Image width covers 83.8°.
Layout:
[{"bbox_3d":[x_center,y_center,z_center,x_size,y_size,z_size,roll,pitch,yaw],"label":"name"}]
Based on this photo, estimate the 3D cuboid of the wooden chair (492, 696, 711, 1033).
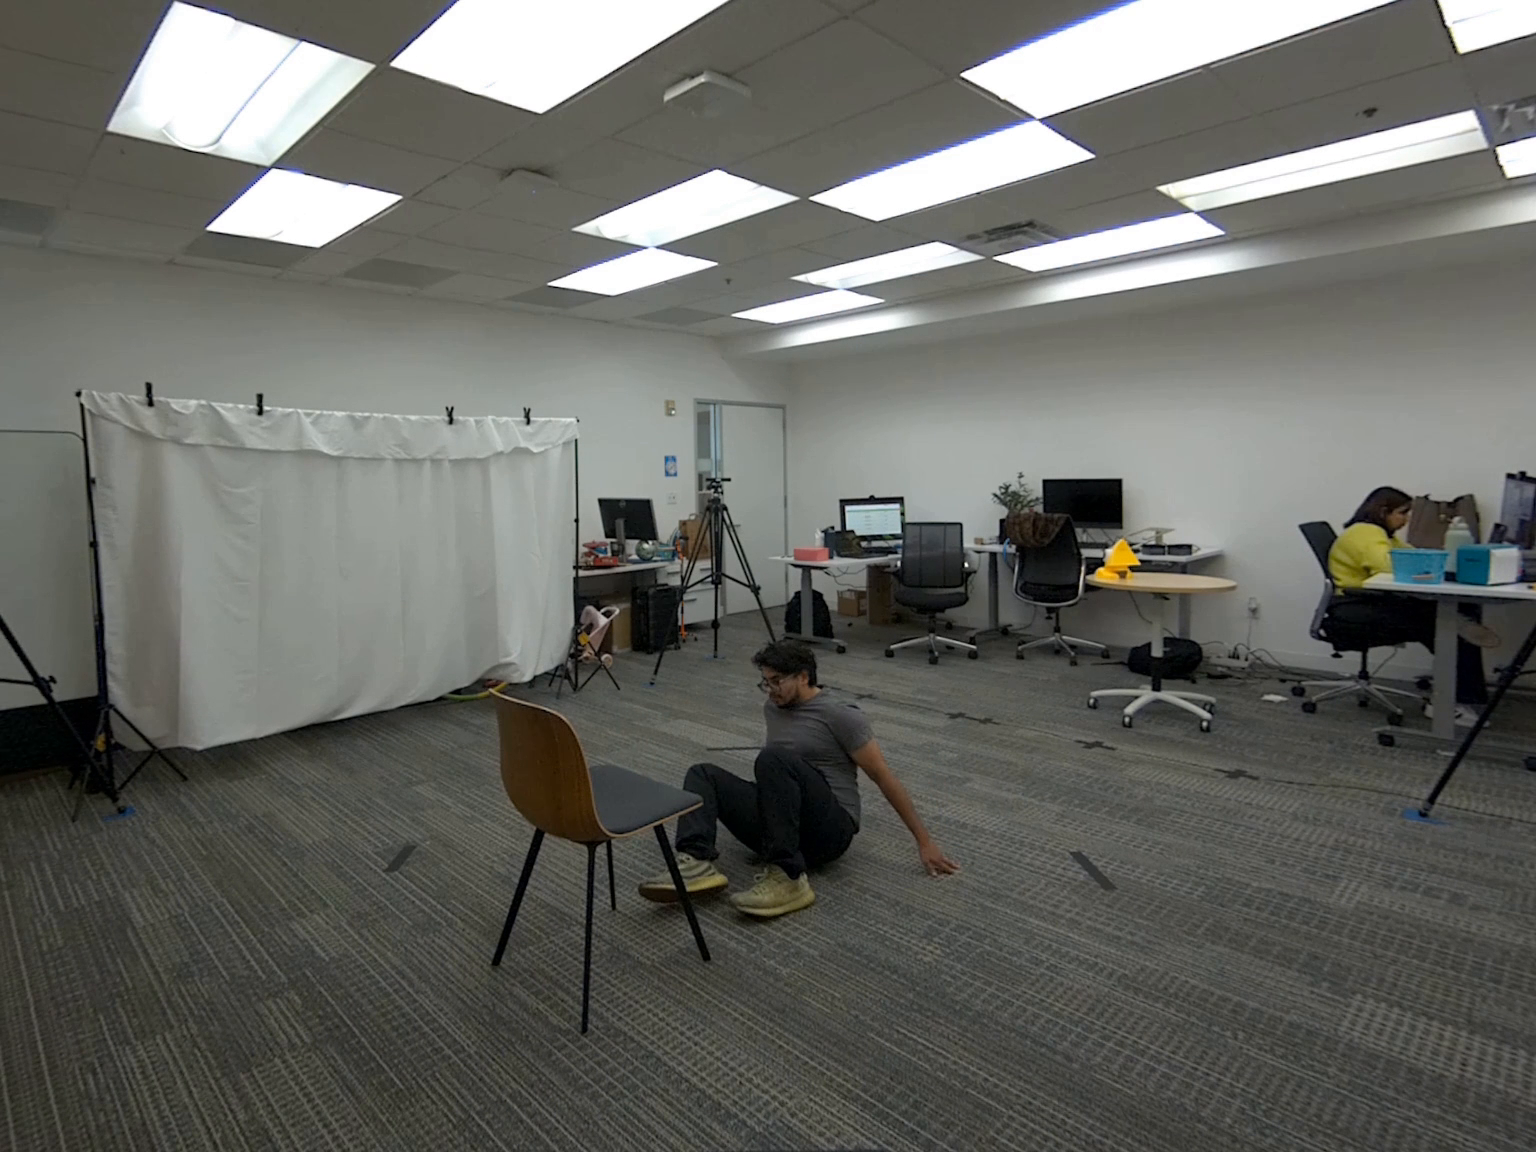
[{"bbox_3d":[-0.484,0.702,2.452,0.493,0.871,0.511,3,10,43],"label":"wooden chair"}]
